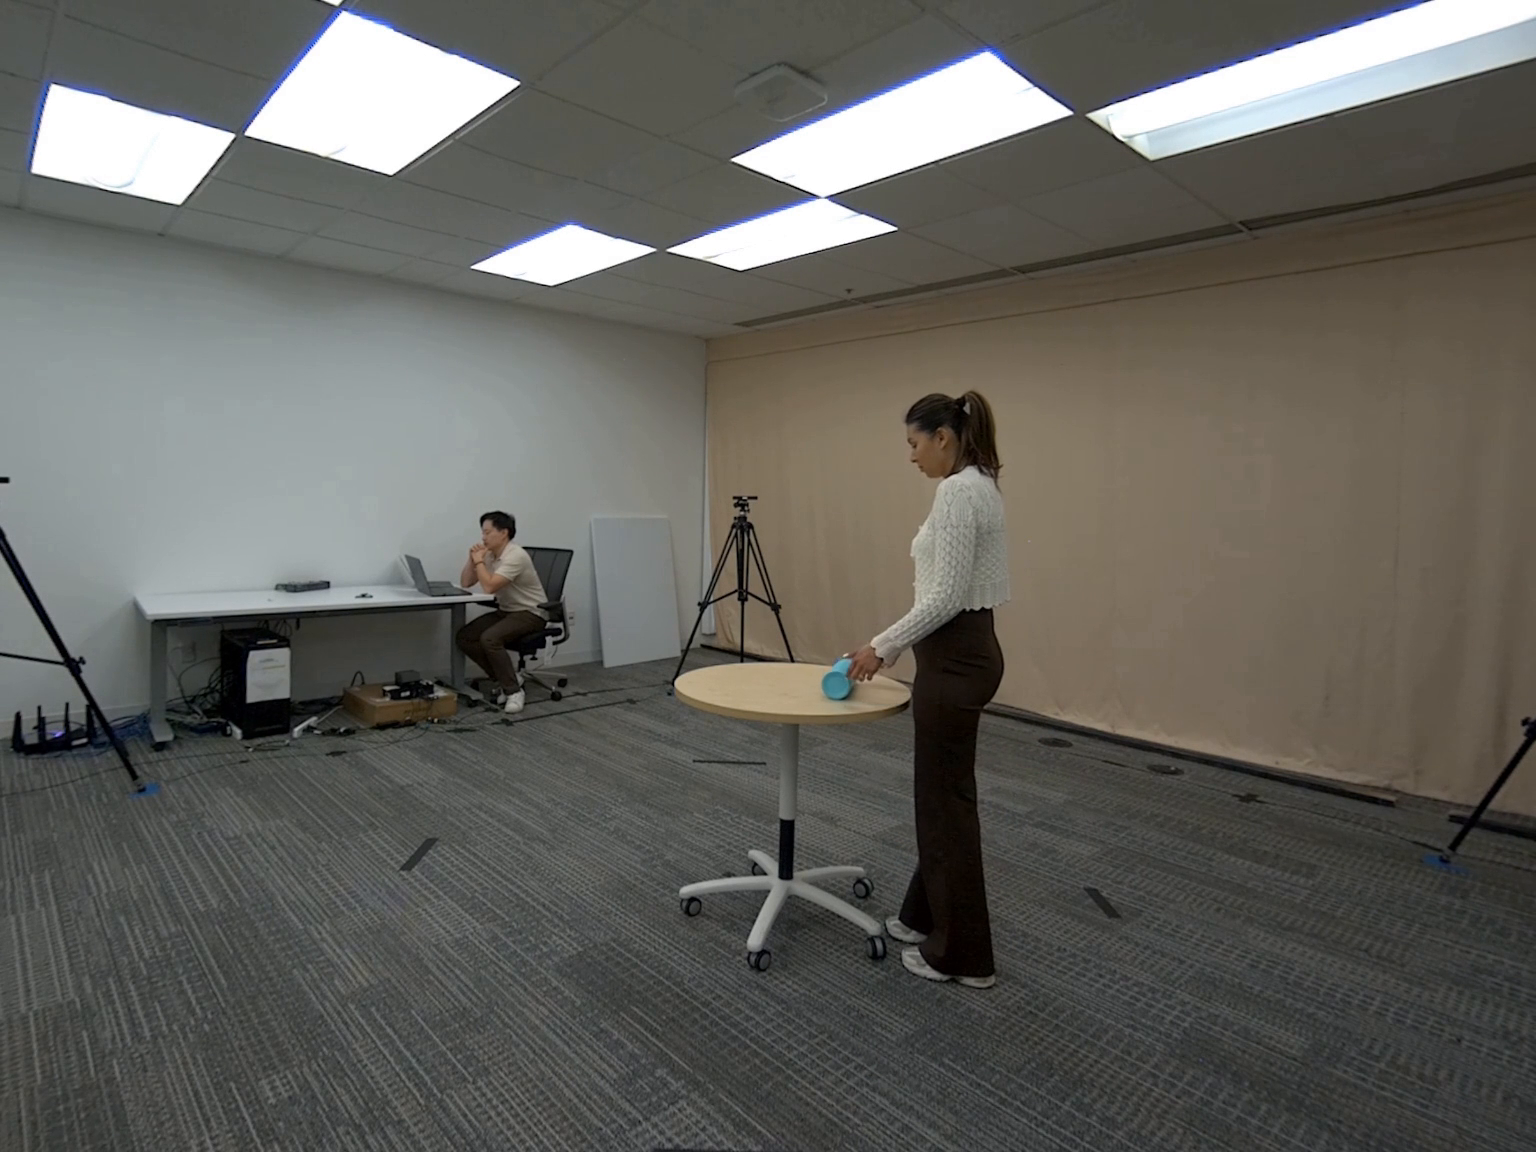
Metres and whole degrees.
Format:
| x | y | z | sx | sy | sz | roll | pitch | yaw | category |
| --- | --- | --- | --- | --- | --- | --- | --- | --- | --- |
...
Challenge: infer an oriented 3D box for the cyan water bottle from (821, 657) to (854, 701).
| x | y | z | sx | sy | sz | roll | pitch | yaw | category |
| --- | --- | --- | --- | --- | --- | --- | --- | --- | --- |
| 0.234 | 0.324 | 2.687 | 0.093 | 0.092 | 0.281 | 2 | 5 | 11 | cyan water bottle |
